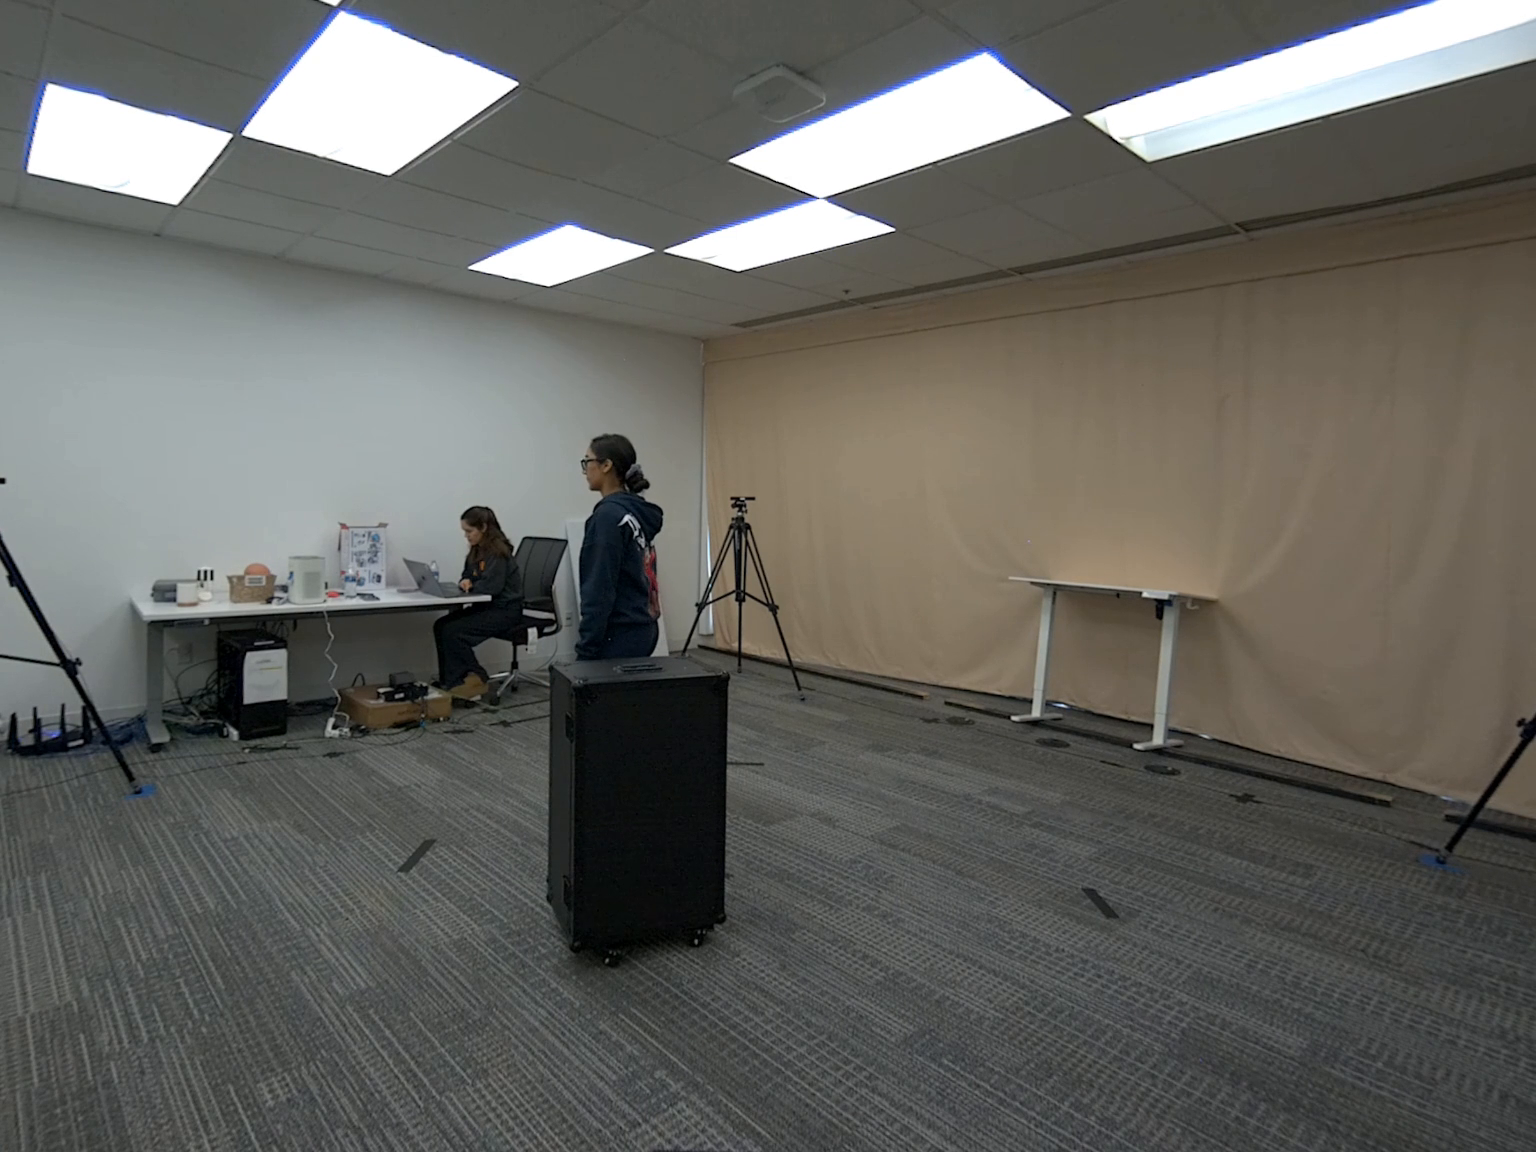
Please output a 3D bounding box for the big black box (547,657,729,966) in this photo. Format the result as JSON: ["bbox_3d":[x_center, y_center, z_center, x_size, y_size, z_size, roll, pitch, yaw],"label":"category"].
[{"bbox_3d":[-0.430,0.719,2.667,0.512,0.860,0.404,-1,2,-26],"label":"big black box"}]
